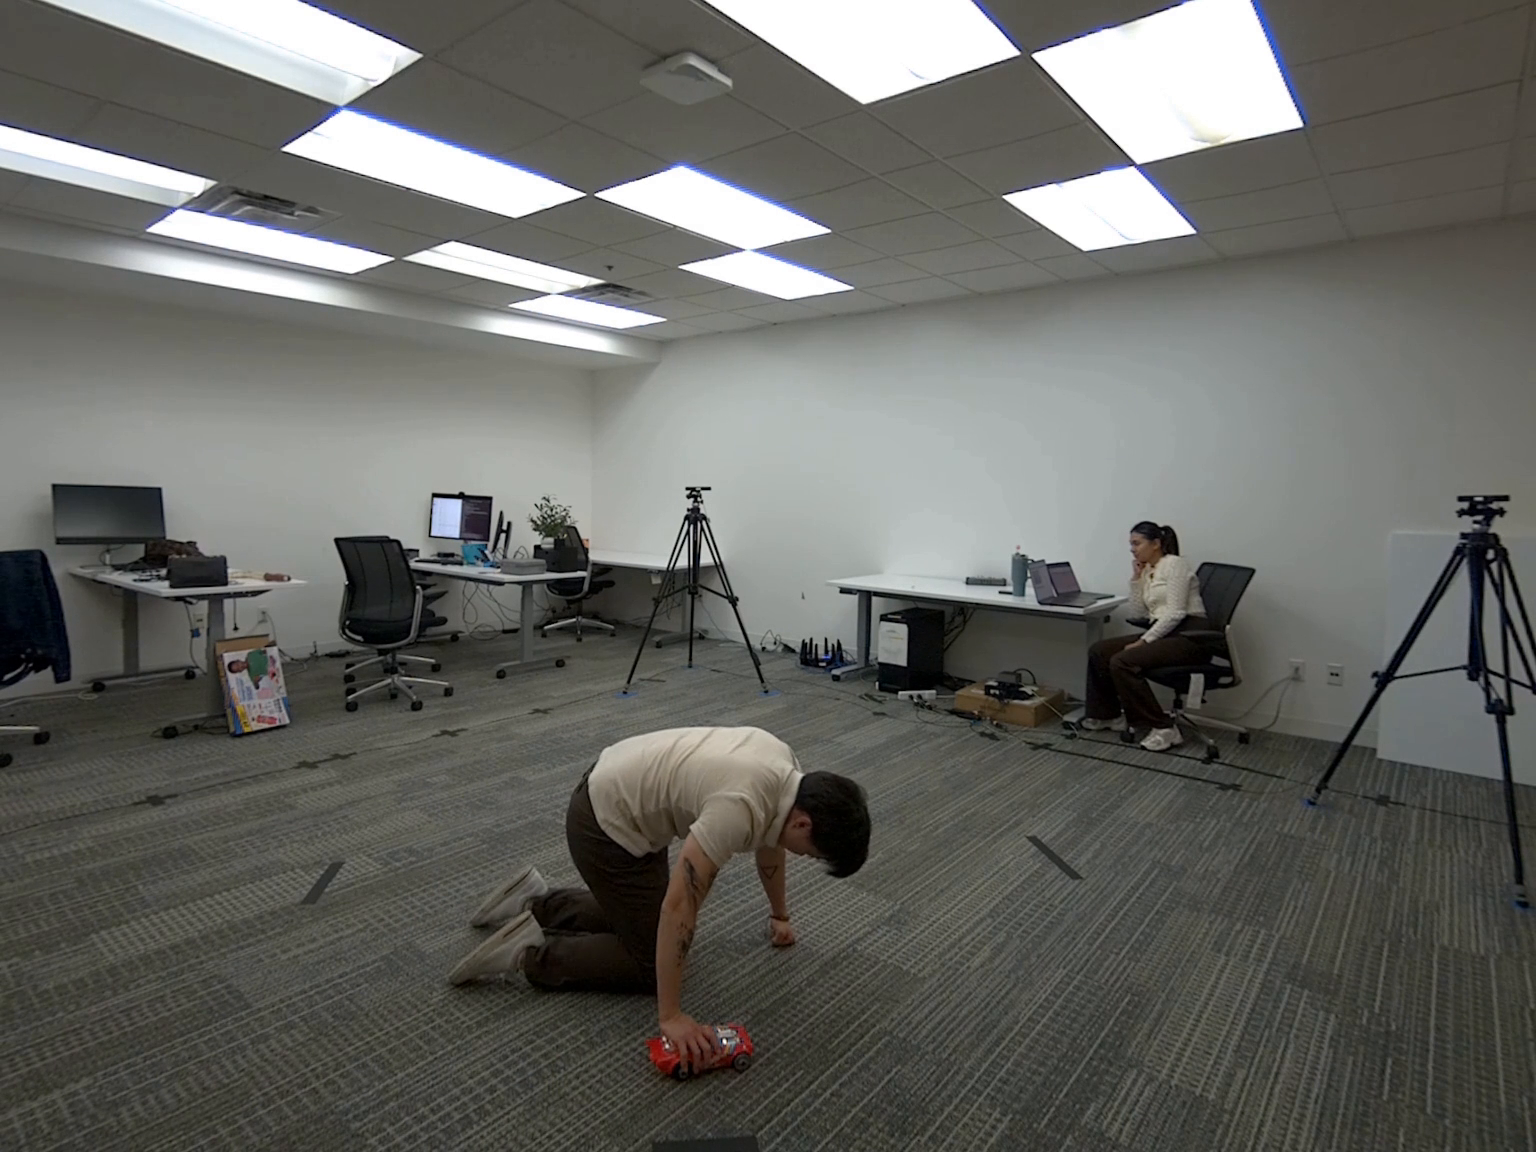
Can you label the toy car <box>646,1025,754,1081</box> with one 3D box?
[{"bbox_3d":[-0.171,1.145,2.057,0.249,0.083,0.133,9,1,-18],"label":"toy car"}]
